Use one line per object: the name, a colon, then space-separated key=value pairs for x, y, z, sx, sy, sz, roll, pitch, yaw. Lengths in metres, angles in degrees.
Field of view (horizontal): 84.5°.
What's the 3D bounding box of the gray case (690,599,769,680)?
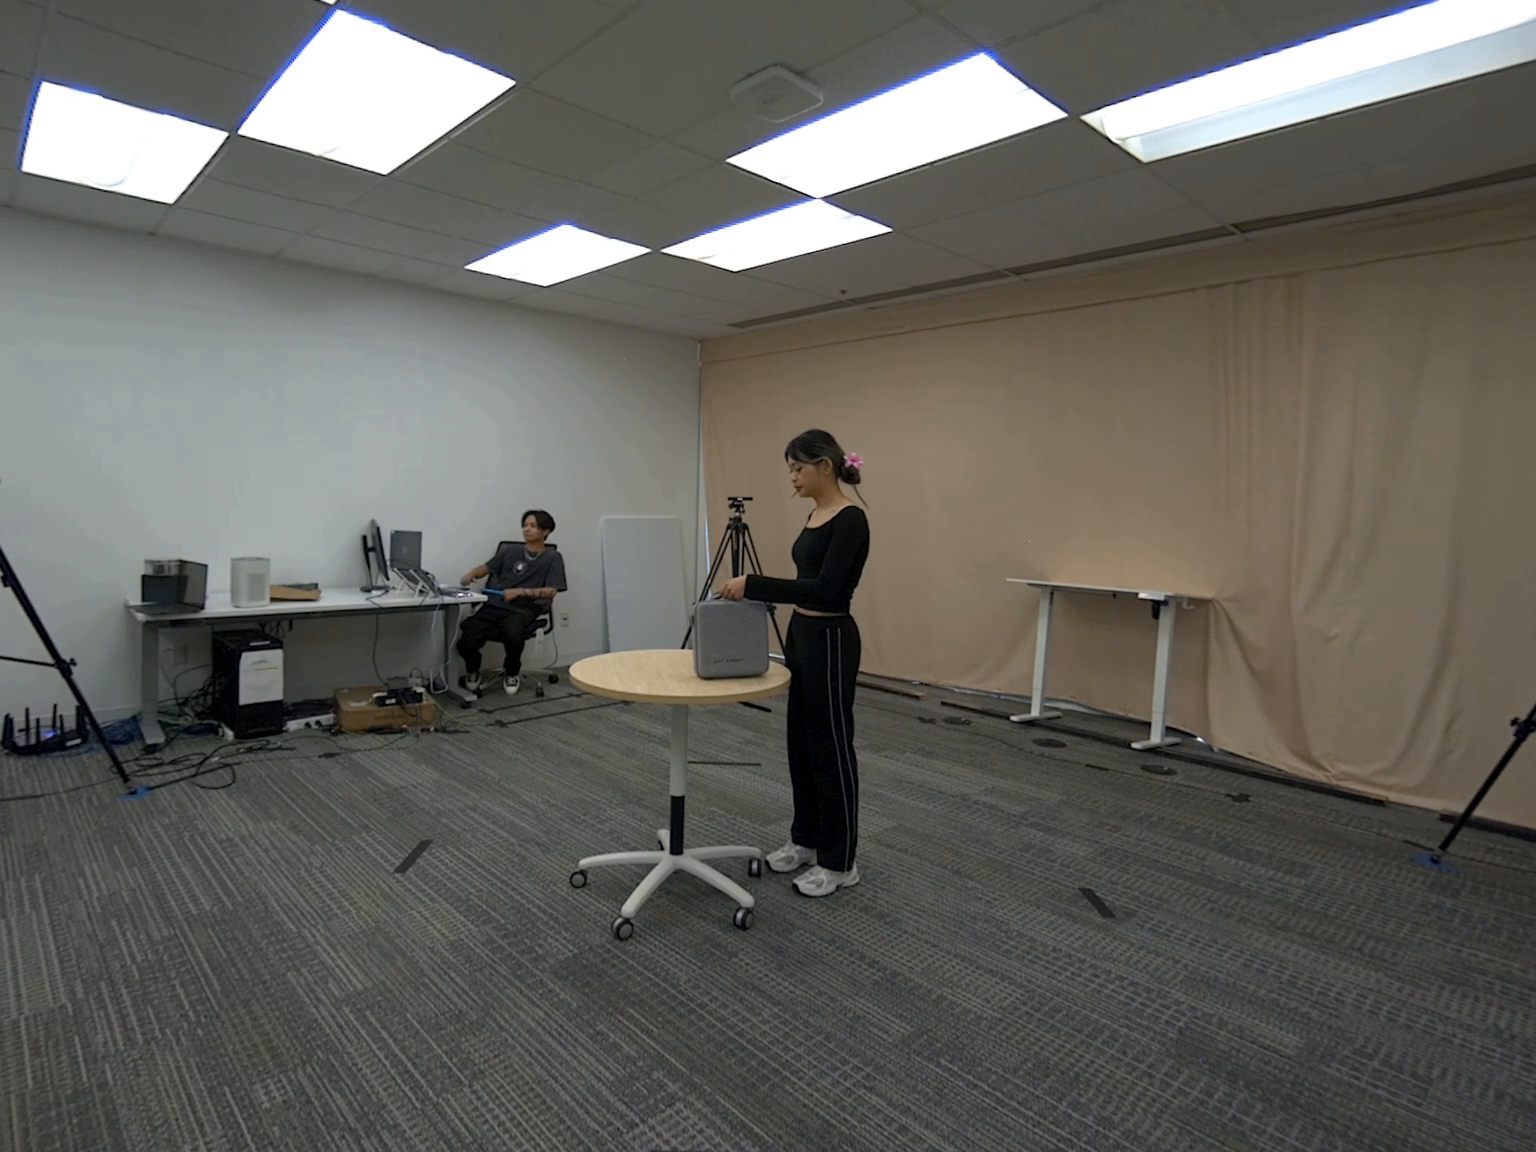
gray case: x=-0.135 y=0.208 z=2.846 sx=0.253 sy=0.261 sz=0.105 roll=0 pitch=-4 yaw=-19
